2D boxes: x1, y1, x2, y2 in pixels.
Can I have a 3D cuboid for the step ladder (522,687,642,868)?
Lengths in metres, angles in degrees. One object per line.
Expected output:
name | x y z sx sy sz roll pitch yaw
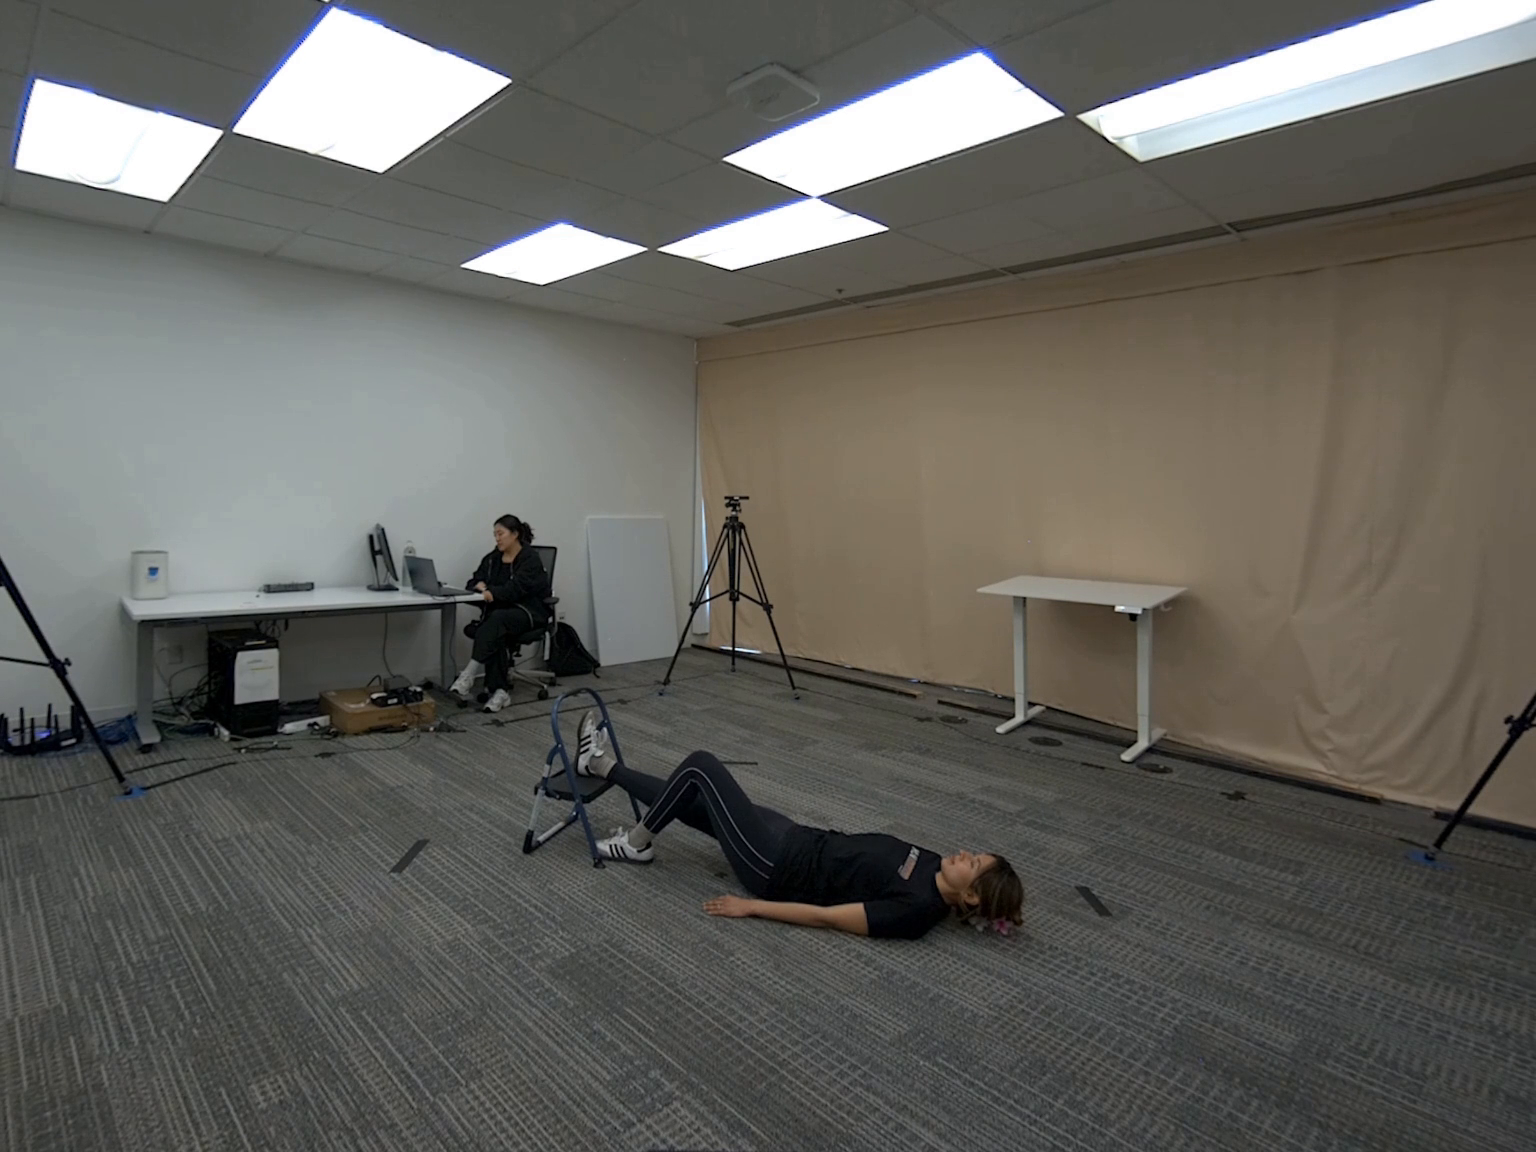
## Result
step ladder | -0.729 0.764 3.377 0.354 0.604 0.426 2 4 16
